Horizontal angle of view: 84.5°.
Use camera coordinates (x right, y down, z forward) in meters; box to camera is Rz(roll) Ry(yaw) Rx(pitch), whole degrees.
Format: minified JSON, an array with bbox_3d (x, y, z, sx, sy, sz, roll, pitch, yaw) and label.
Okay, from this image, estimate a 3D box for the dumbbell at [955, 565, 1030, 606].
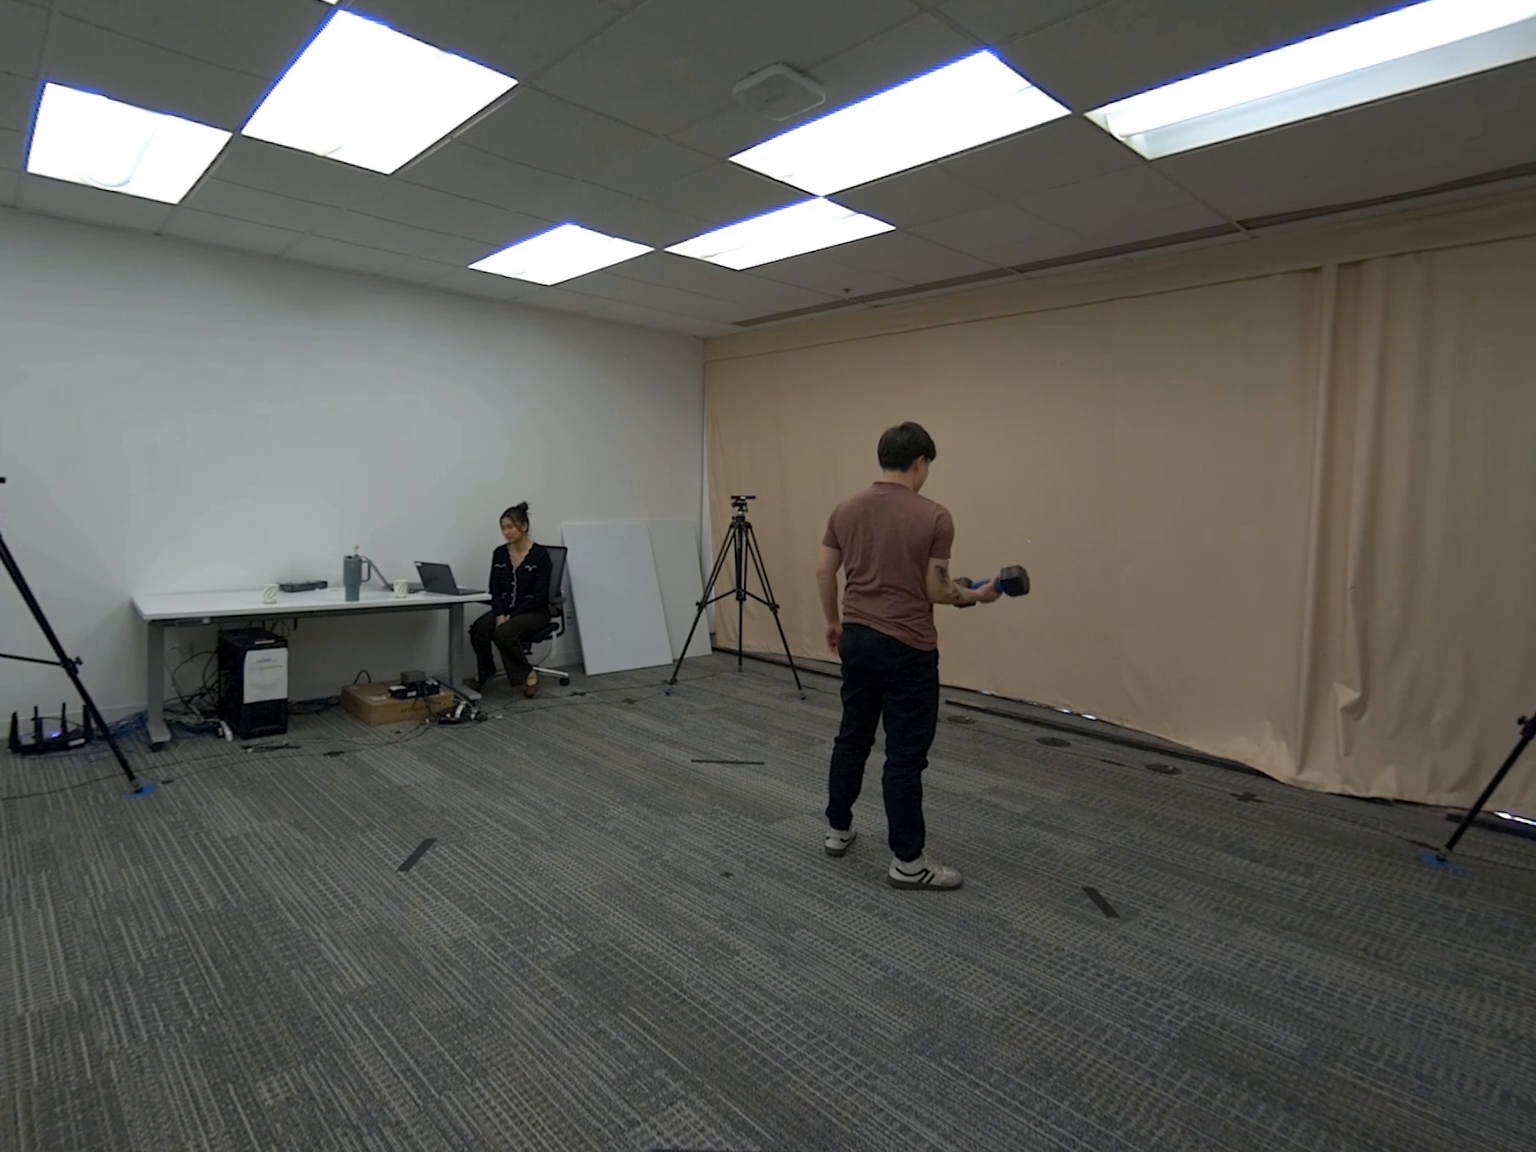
[{"bbox_3d":[0.834,0.040,3.250,0.298,0.124,0.105,-15,-48,33],"label":"dumbbell"}]
